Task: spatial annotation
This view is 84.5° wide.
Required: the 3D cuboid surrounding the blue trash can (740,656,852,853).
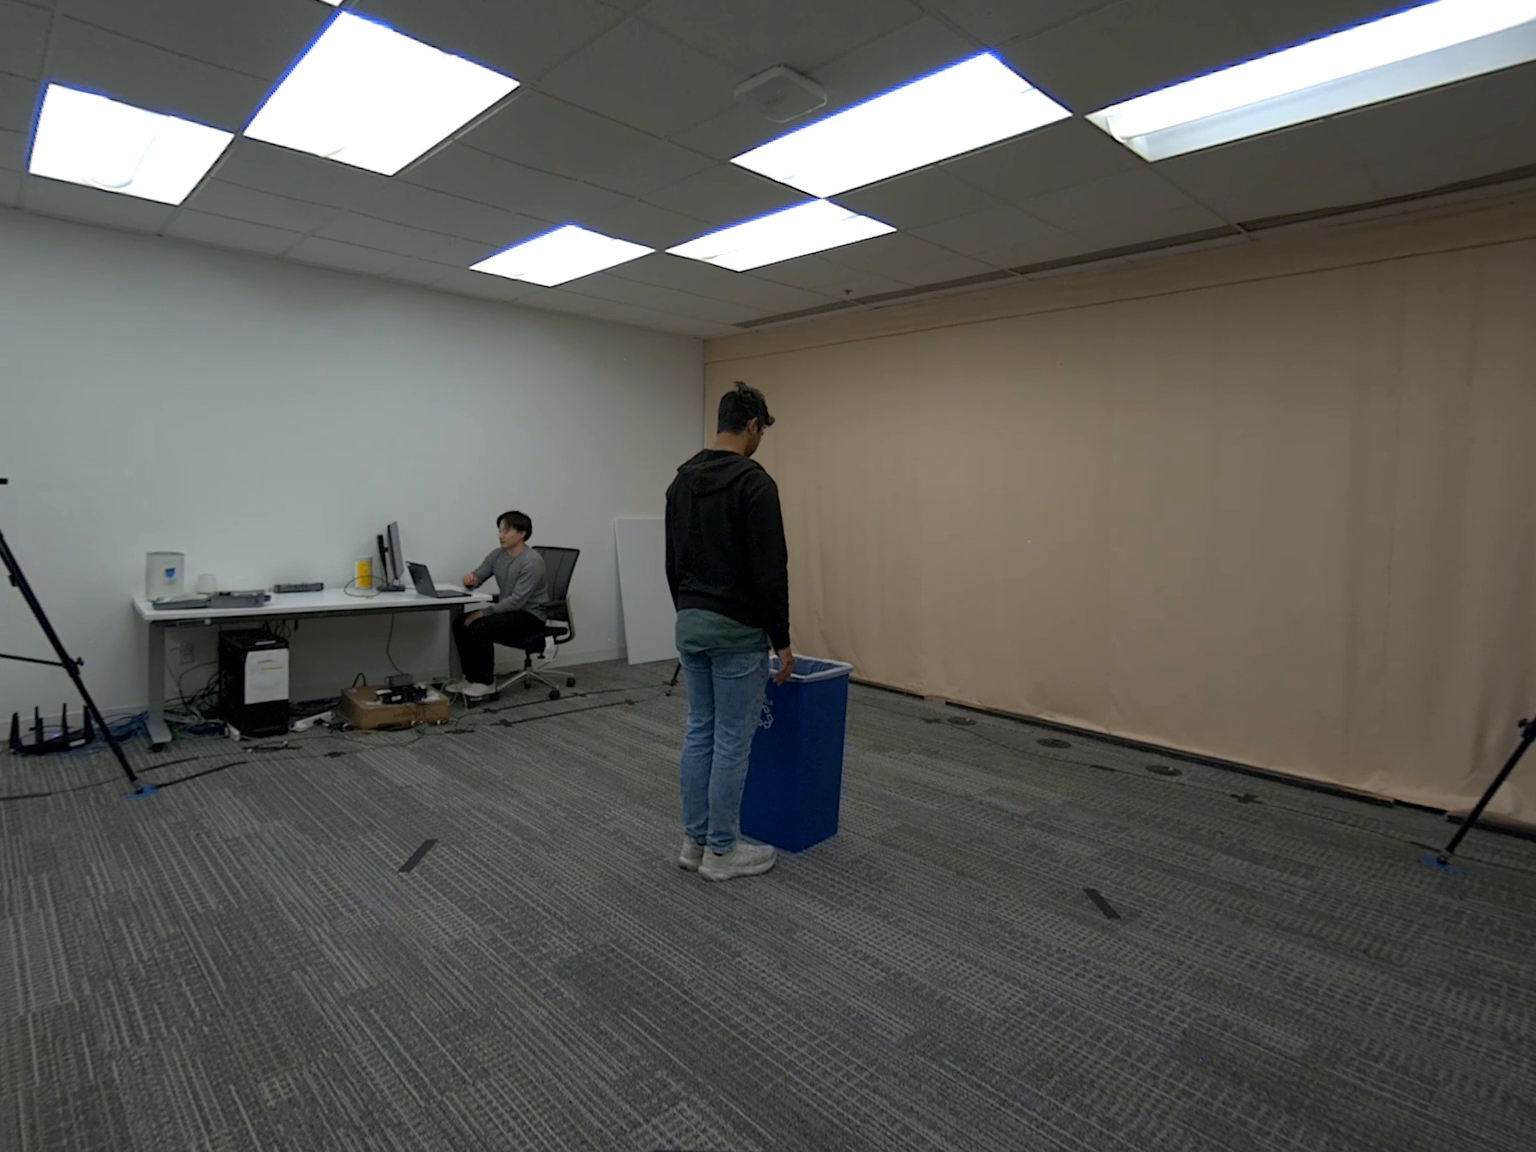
[{"bbox_3d":[0.101,0.720,3.504,0.383,0.712,0.369,4,4,39],"label":"blue trash can"}]
